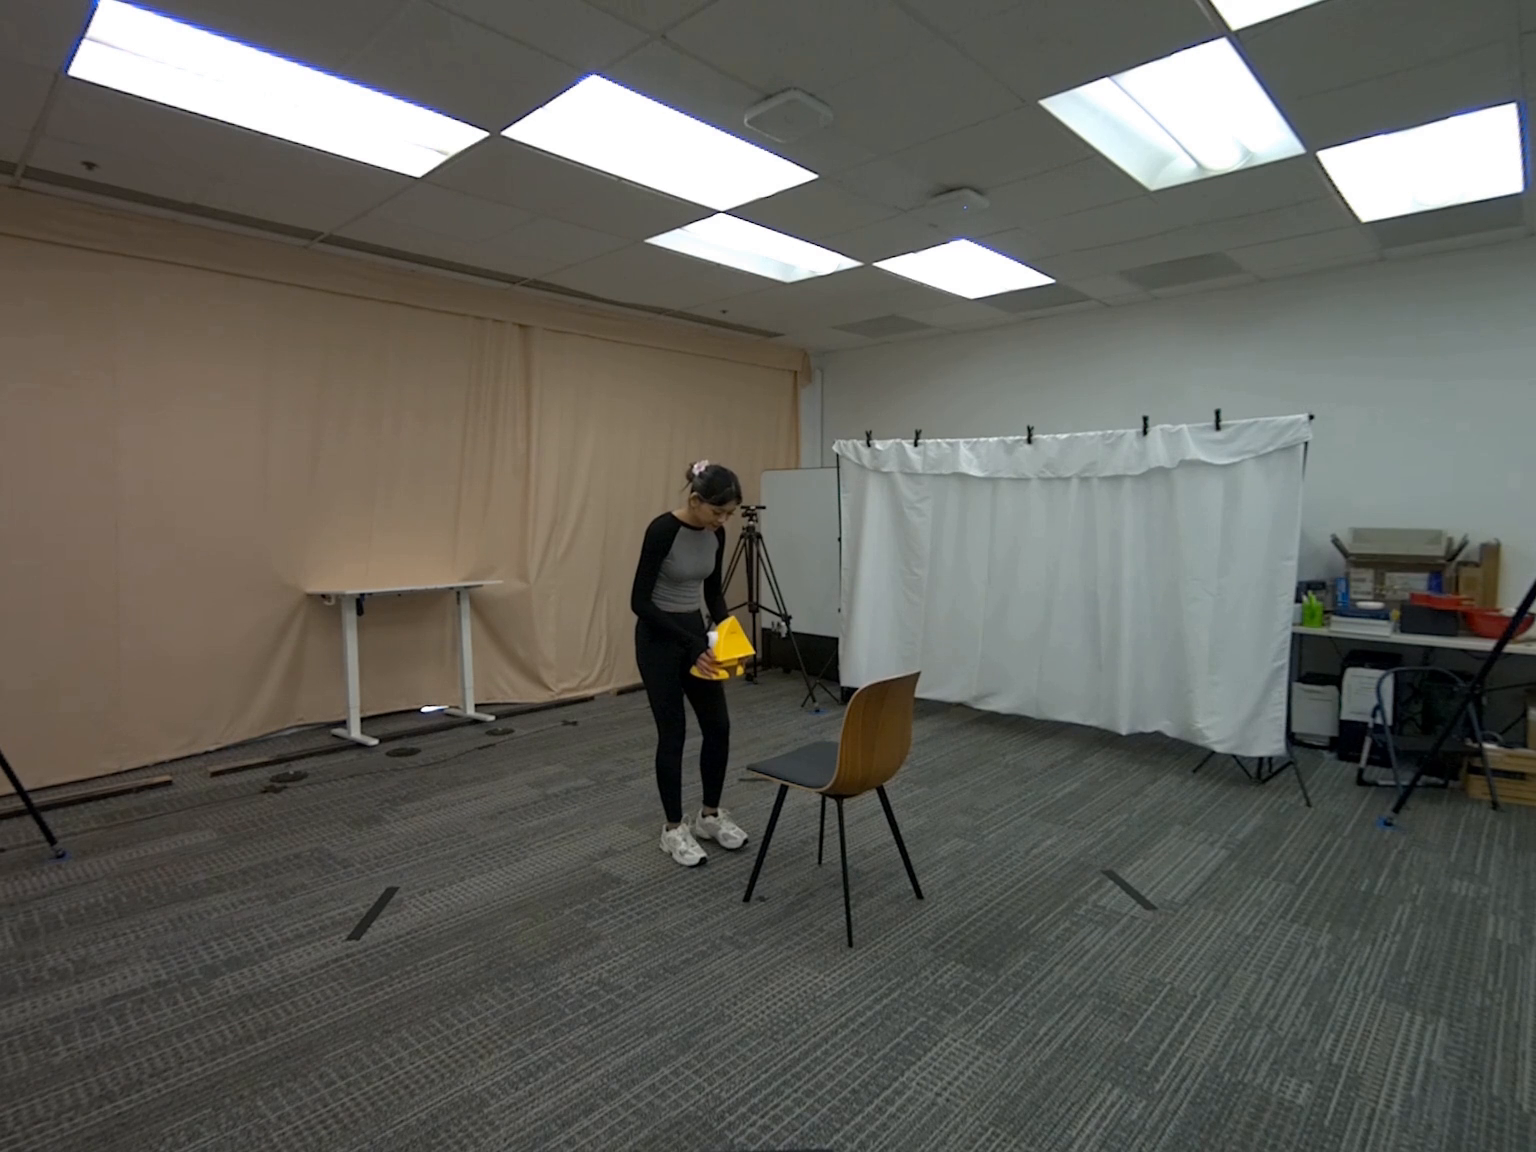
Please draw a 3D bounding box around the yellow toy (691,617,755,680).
[{"bbox_3d":[-0.178,0.258,3.203,0.200,0.230,0.199,8,8,40],"label":"yellow toy"}]
